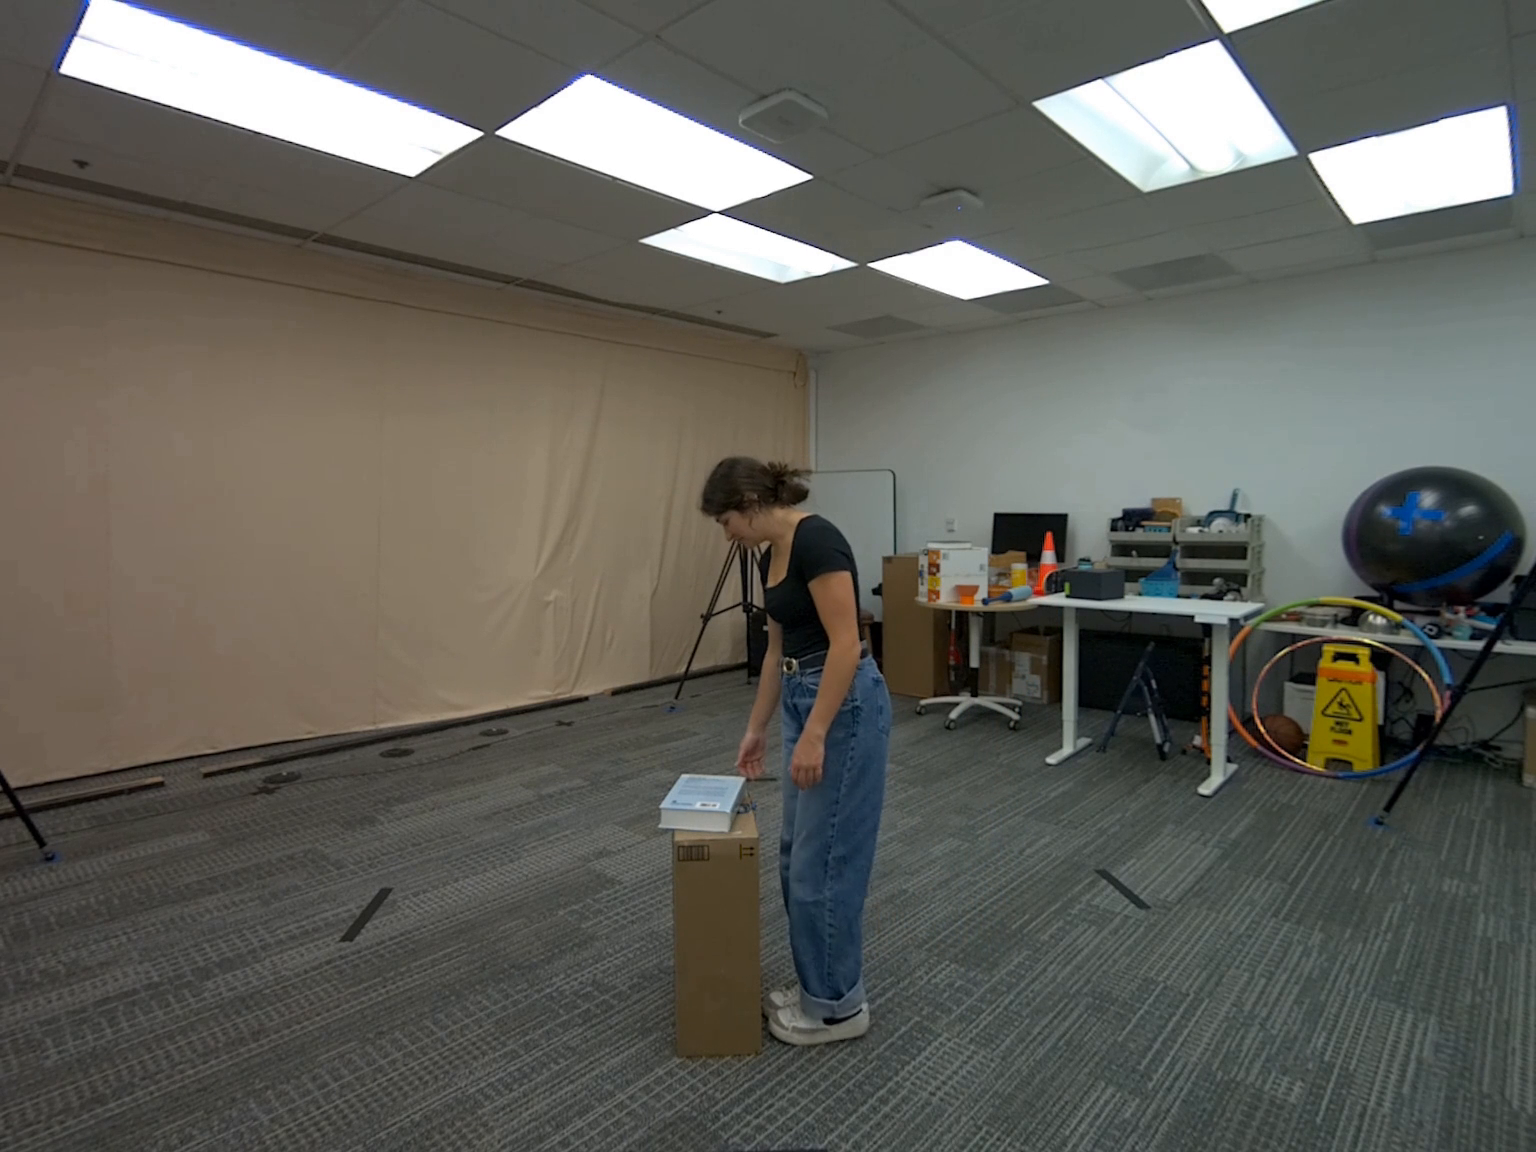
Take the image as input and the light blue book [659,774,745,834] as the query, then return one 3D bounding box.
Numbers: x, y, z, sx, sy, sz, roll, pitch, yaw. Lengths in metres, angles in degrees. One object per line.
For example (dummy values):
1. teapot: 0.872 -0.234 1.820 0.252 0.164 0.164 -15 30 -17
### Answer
1. light blue book: -0.163 0.618 2.280 0.193 0.059 0.259 0 5 9
